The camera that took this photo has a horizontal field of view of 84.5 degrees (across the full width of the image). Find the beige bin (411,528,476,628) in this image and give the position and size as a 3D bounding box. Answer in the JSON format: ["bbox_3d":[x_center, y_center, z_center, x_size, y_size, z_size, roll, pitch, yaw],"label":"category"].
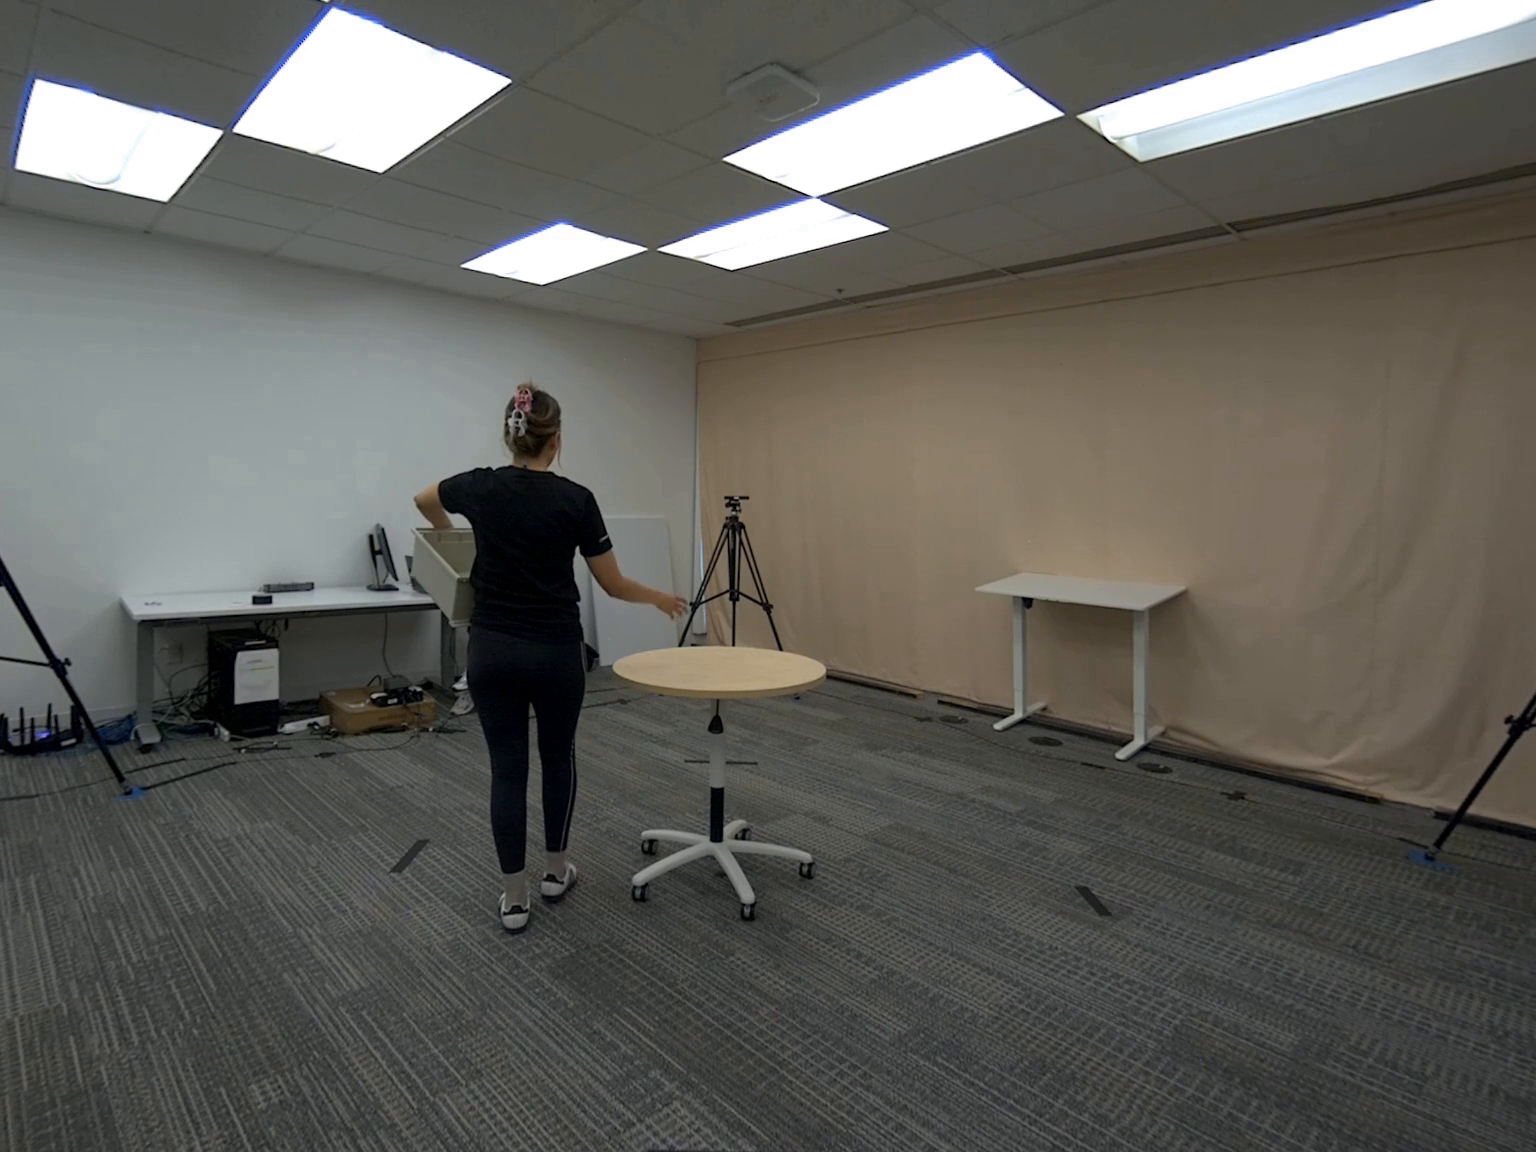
[{"bbox_3d":[-0.989,-0.008,2.920,0.369,0.187,0.436,-3,26,-41],"label":"beige bin"}]
